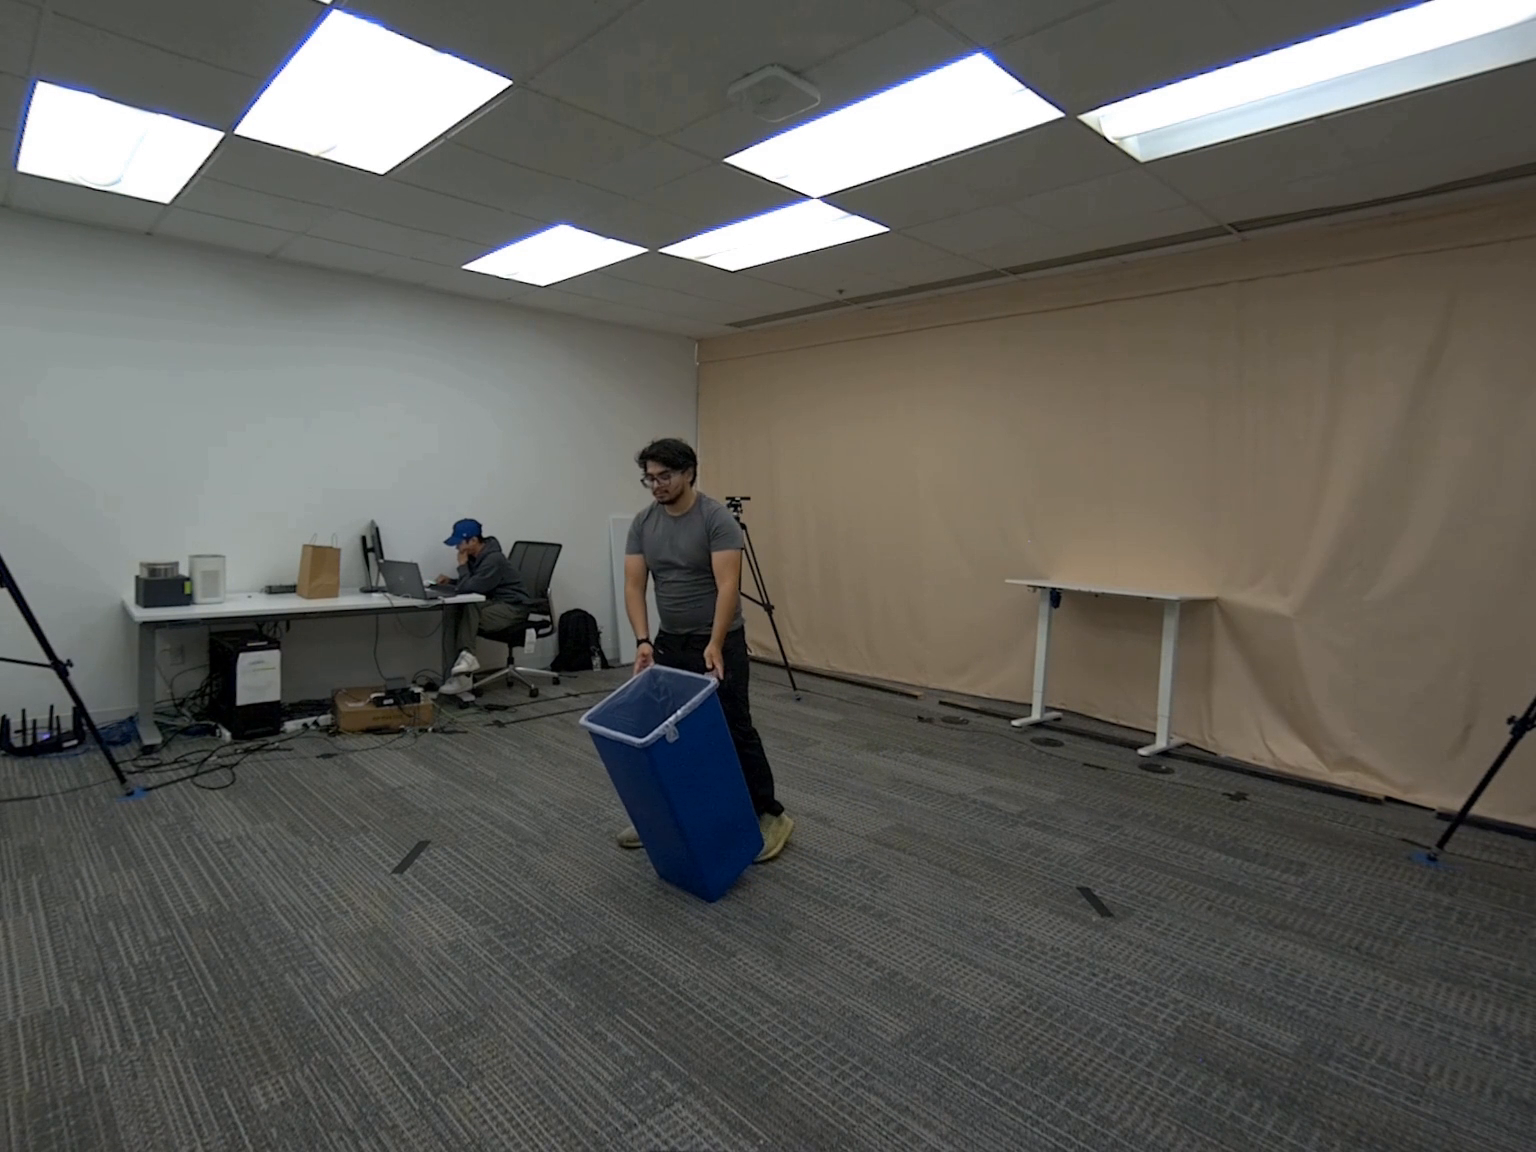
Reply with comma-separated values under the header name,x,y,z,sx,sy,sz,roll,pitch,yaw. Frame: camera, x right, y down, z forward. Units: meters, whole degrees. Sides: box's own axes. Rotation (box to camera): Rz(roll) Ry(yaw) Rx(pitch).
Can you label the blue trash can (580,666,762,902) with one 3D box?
name,x,y,z,sx,sy,sz,roll,pitch,yaw
blue trash can,-0.319,0.727,2.962,0.387,0.700,0.372,3,30,43
